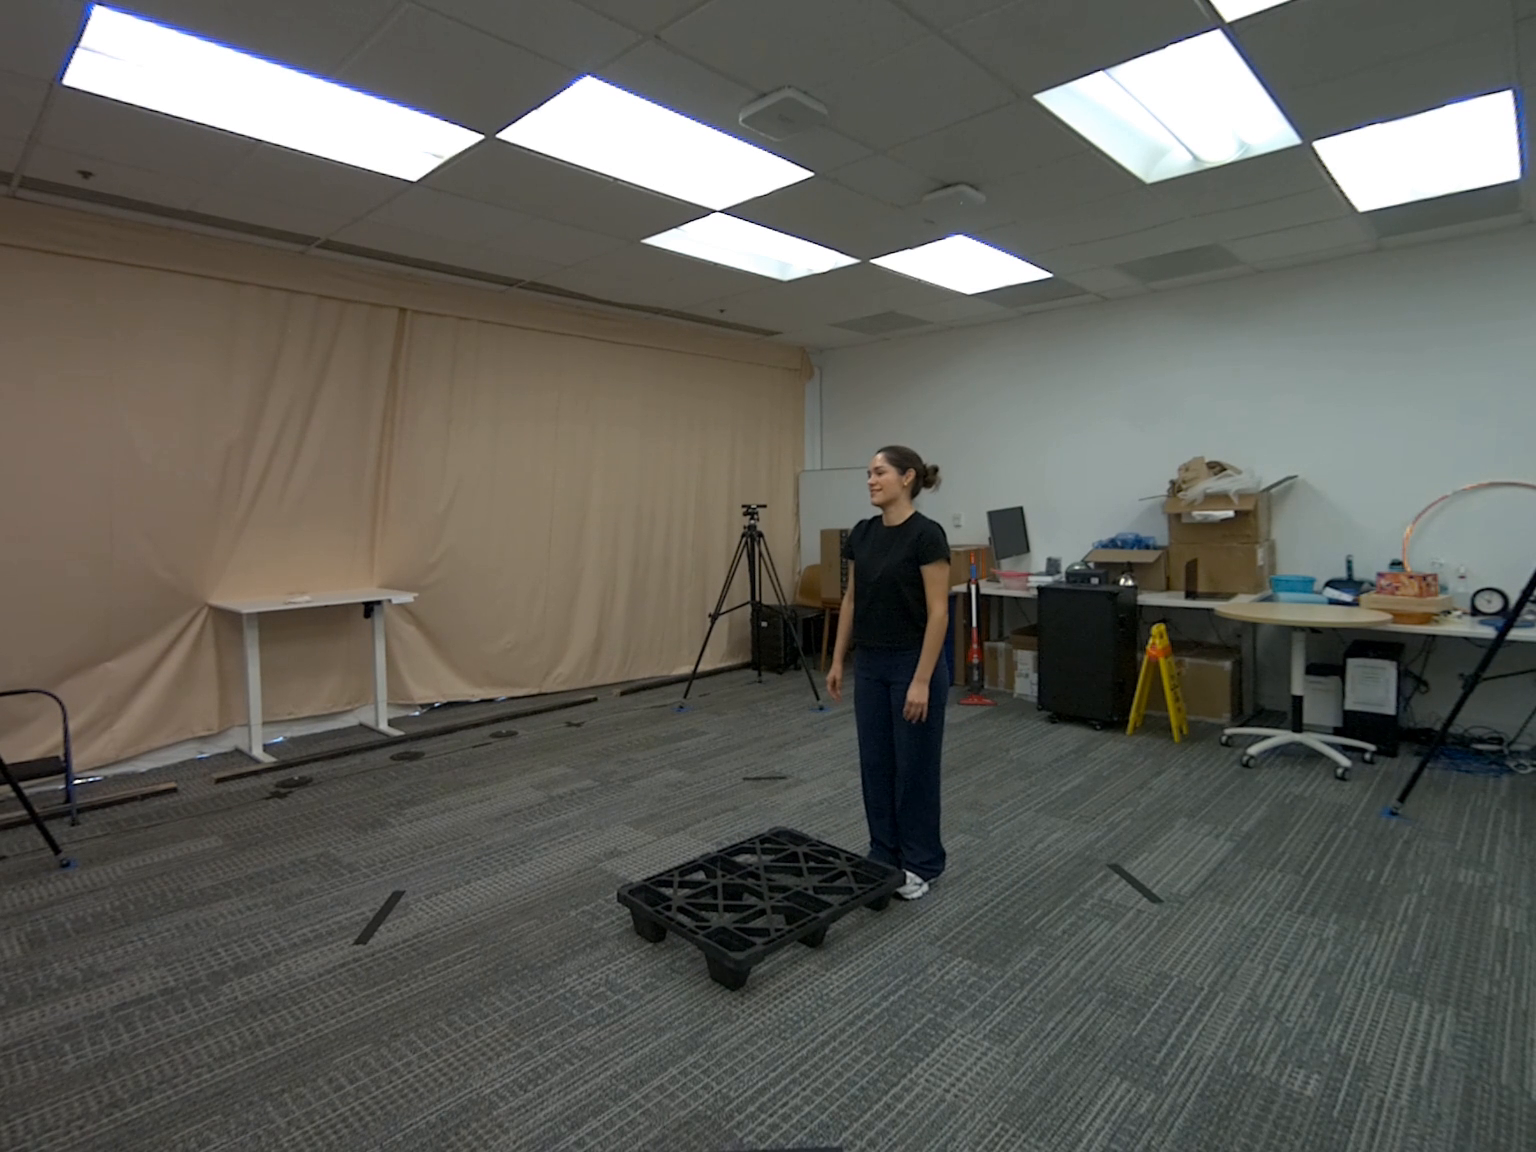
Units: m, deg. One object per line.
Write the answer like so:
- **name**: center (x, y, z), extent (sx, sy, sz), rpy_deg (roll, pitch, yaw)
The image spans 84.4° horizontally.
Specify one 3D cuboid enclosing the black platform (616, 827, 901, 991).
- **black platform**: center (-0.005, 1.089, 2.821), extent (0.781, 0.143, 0.625), rpy_deg (-5, 6, -44)
